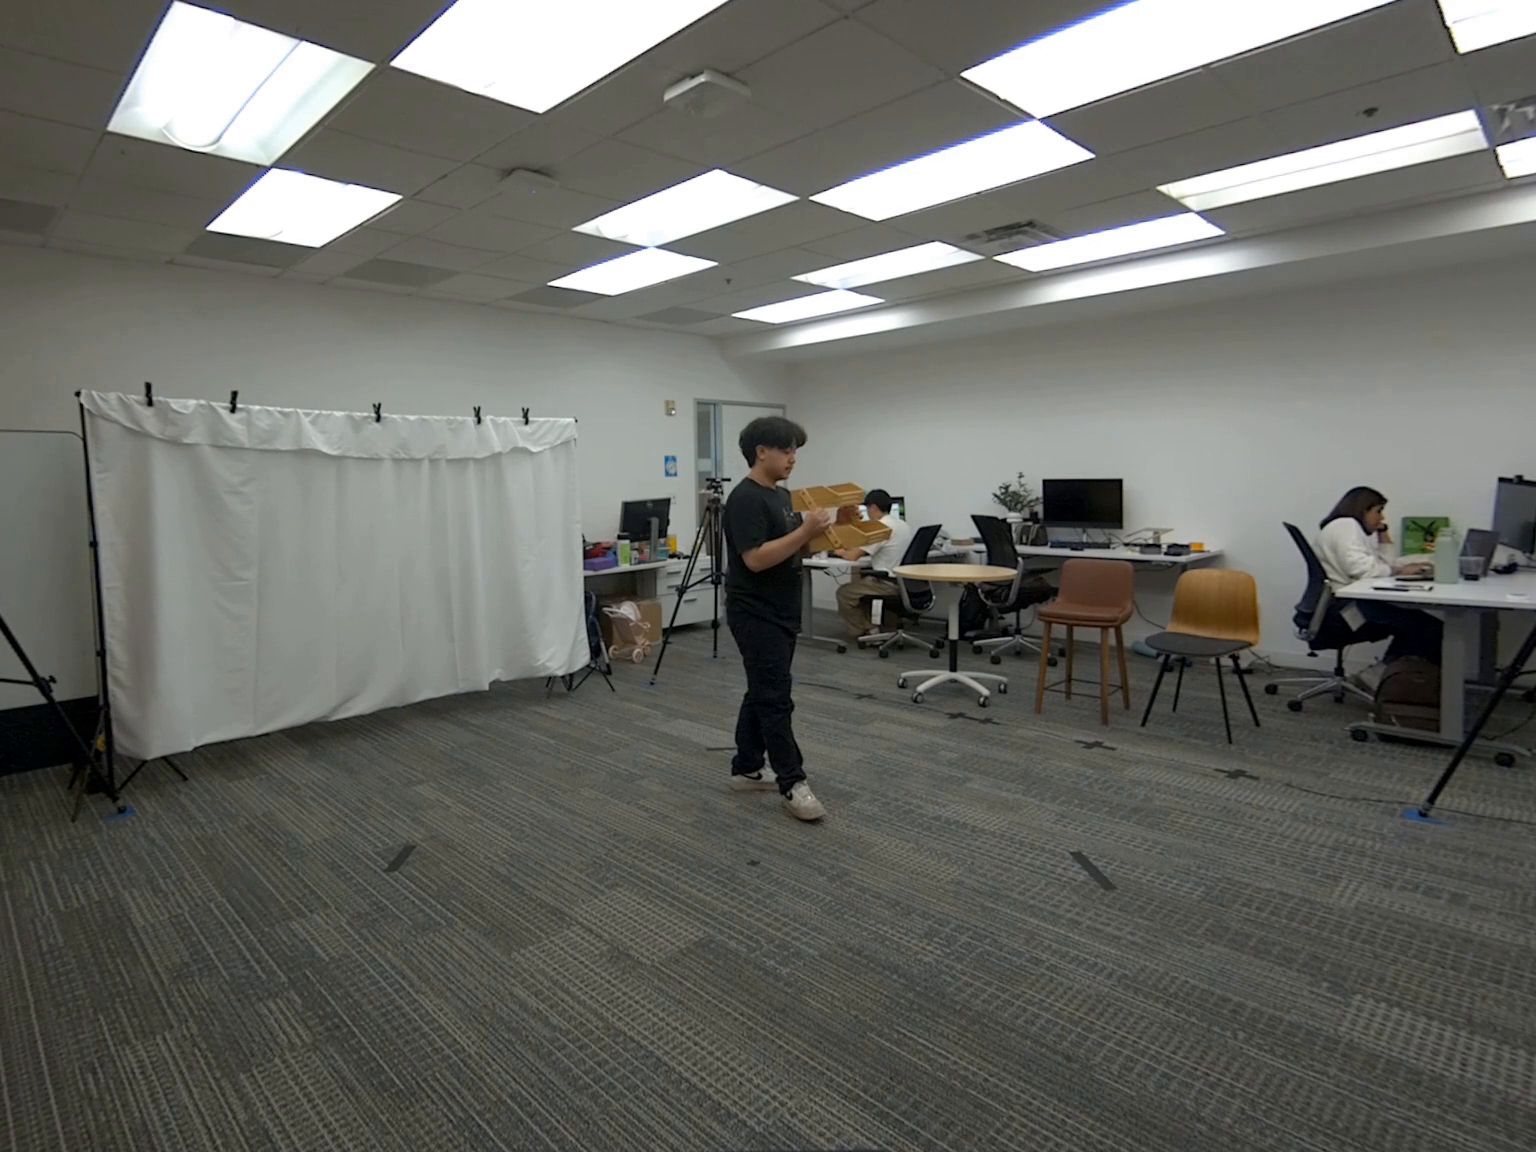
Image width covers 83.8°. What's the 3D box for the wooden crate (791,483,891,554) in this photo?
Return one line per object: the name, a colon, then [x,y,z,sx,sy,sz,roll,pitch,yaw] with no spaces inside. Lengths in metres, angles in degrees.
wooden crate: [0.308,-0.255,3.541,0.309,0.273,0.318,-7,2,30]
